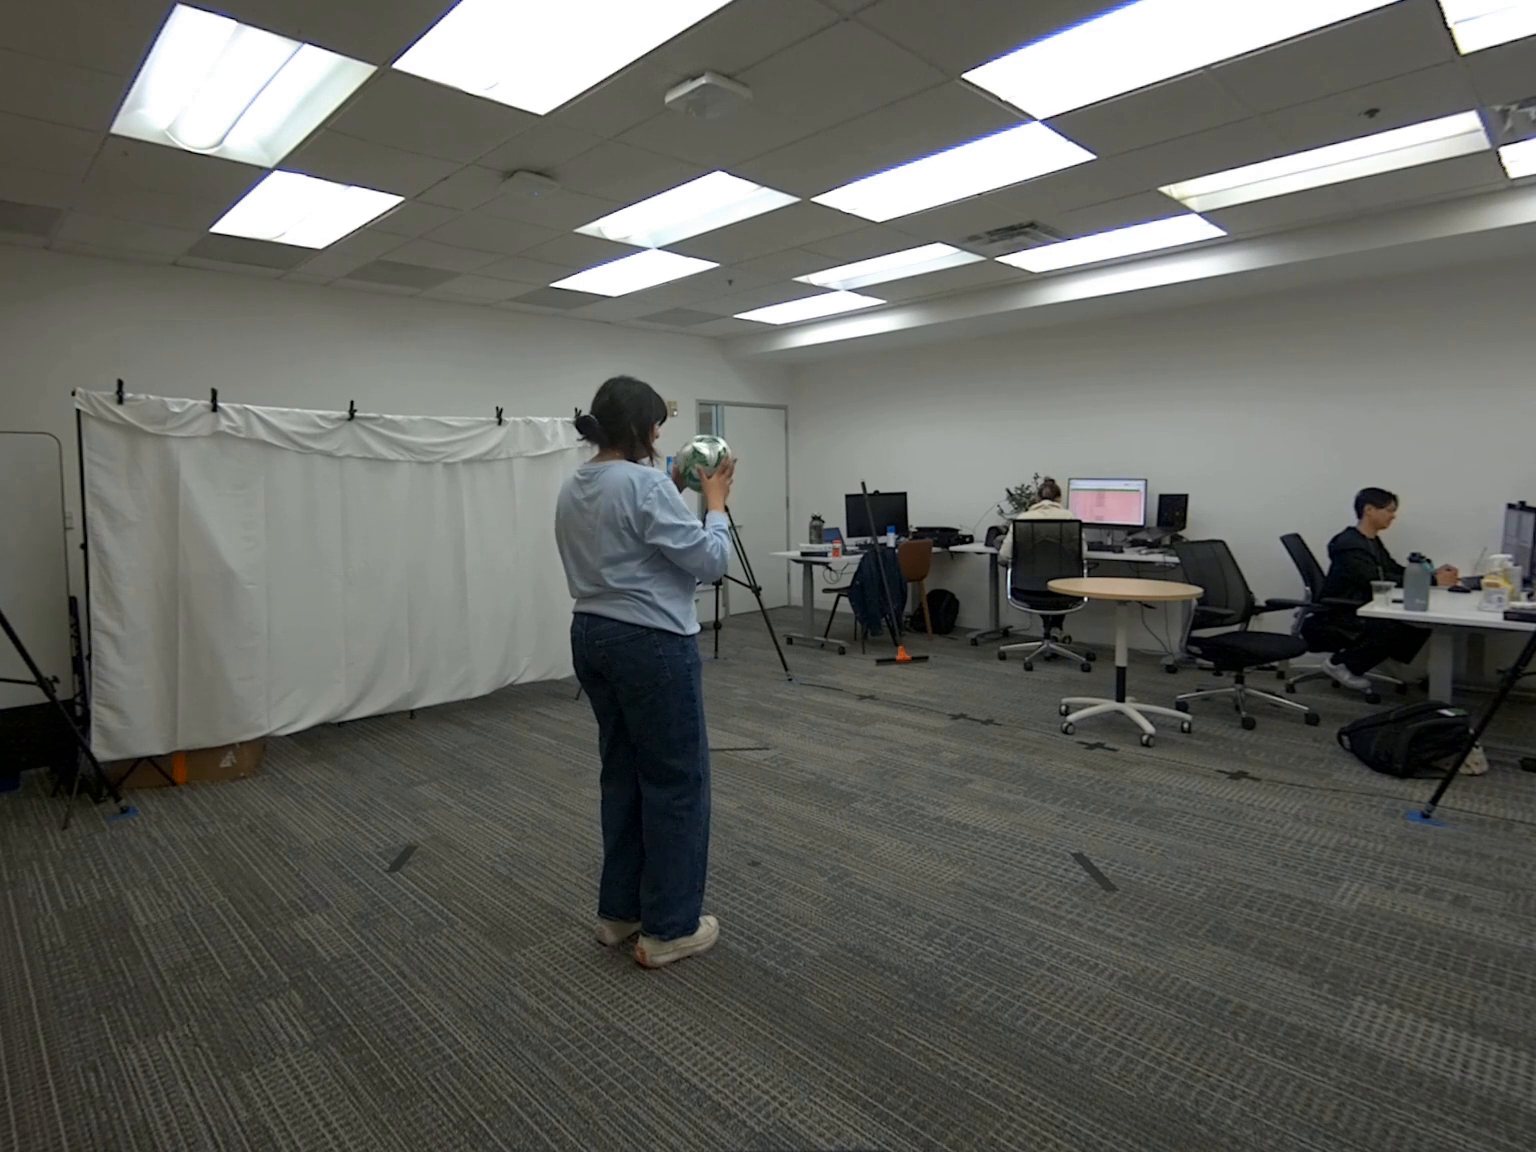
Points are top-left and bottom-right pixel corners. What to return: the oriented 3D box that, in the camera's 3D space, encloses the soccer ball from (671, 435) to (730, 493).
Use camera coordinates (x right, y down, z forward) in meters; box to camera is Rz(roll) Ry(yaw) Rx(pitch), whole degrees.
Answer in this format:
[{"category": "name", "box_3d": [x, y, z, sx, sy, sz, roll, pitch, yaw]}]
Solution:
[{"category": "soccer ball", "box_3d": [-0.200, -0.364, 2.761, 0.187, 0.187, 0.188, -1, 5, -2]}]
